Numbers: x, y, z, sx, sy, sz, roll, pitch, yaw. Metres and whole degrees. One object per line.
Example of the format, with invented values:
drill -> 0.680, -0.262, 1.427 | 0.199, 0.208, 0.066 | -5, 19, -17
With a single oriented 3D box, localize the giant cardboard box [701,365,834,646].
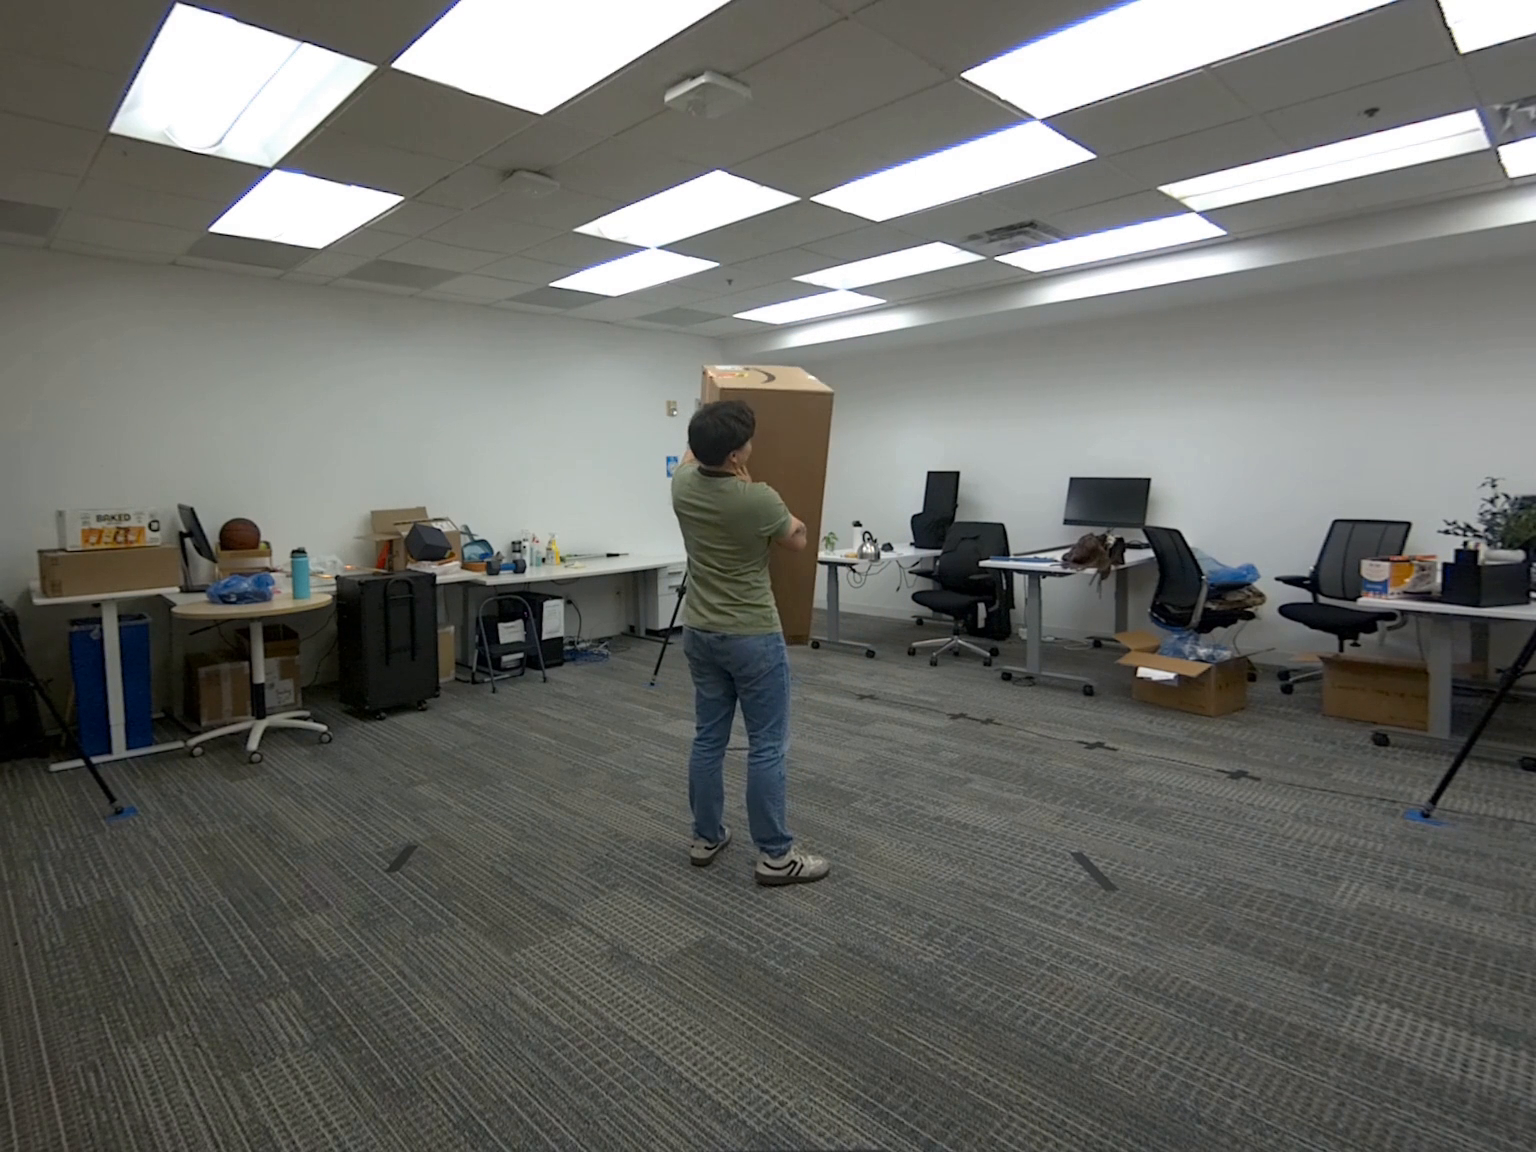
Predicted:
giant cardboard box -> -0.055, -0.304, 3.475 | 0.422, 1.009, 0.593 | 0, 20, -11
